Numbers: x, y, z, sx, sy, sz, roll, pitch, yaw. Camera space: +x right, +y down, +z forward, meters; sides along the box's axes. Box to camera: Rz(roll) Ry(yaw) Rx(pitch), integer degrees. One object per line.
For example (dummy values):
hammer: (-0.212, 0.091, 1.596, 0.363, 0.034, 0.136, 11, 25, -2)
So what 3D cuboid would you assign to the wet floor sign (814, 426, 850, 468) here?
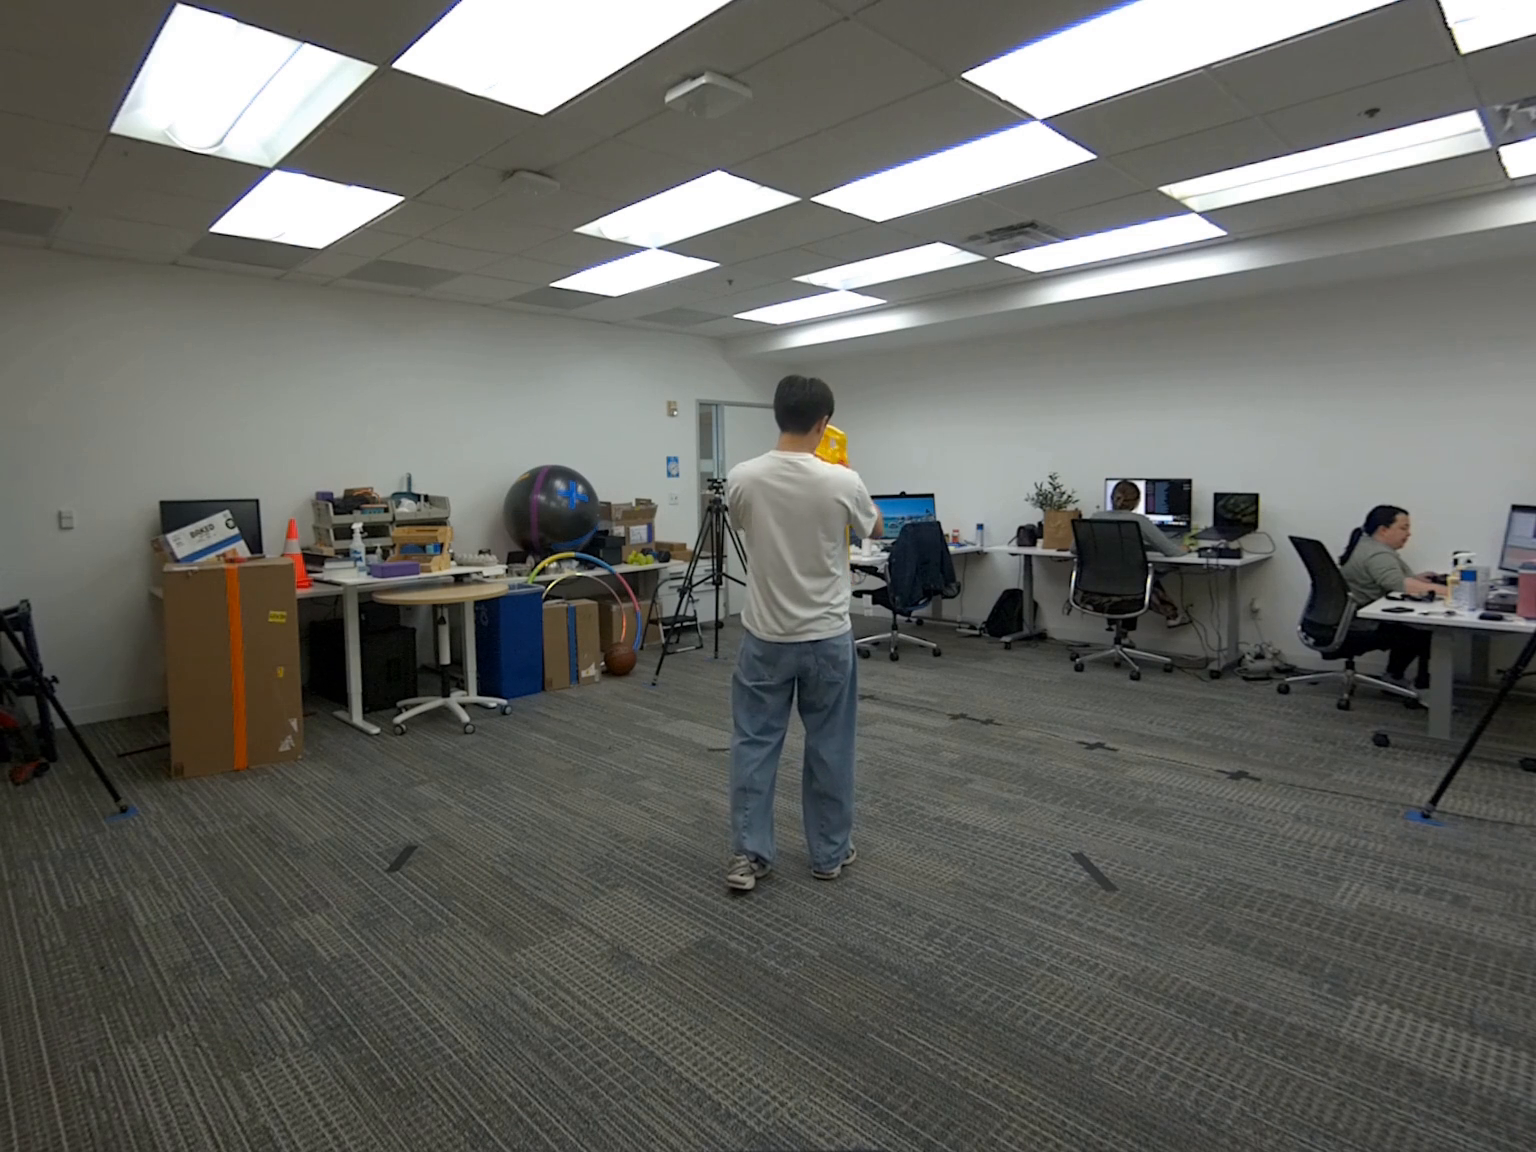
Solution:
wet floor sign: (0.204, -0.258, 3.332, 0.285, 0.639, 0.290, 2, 14, -18)
